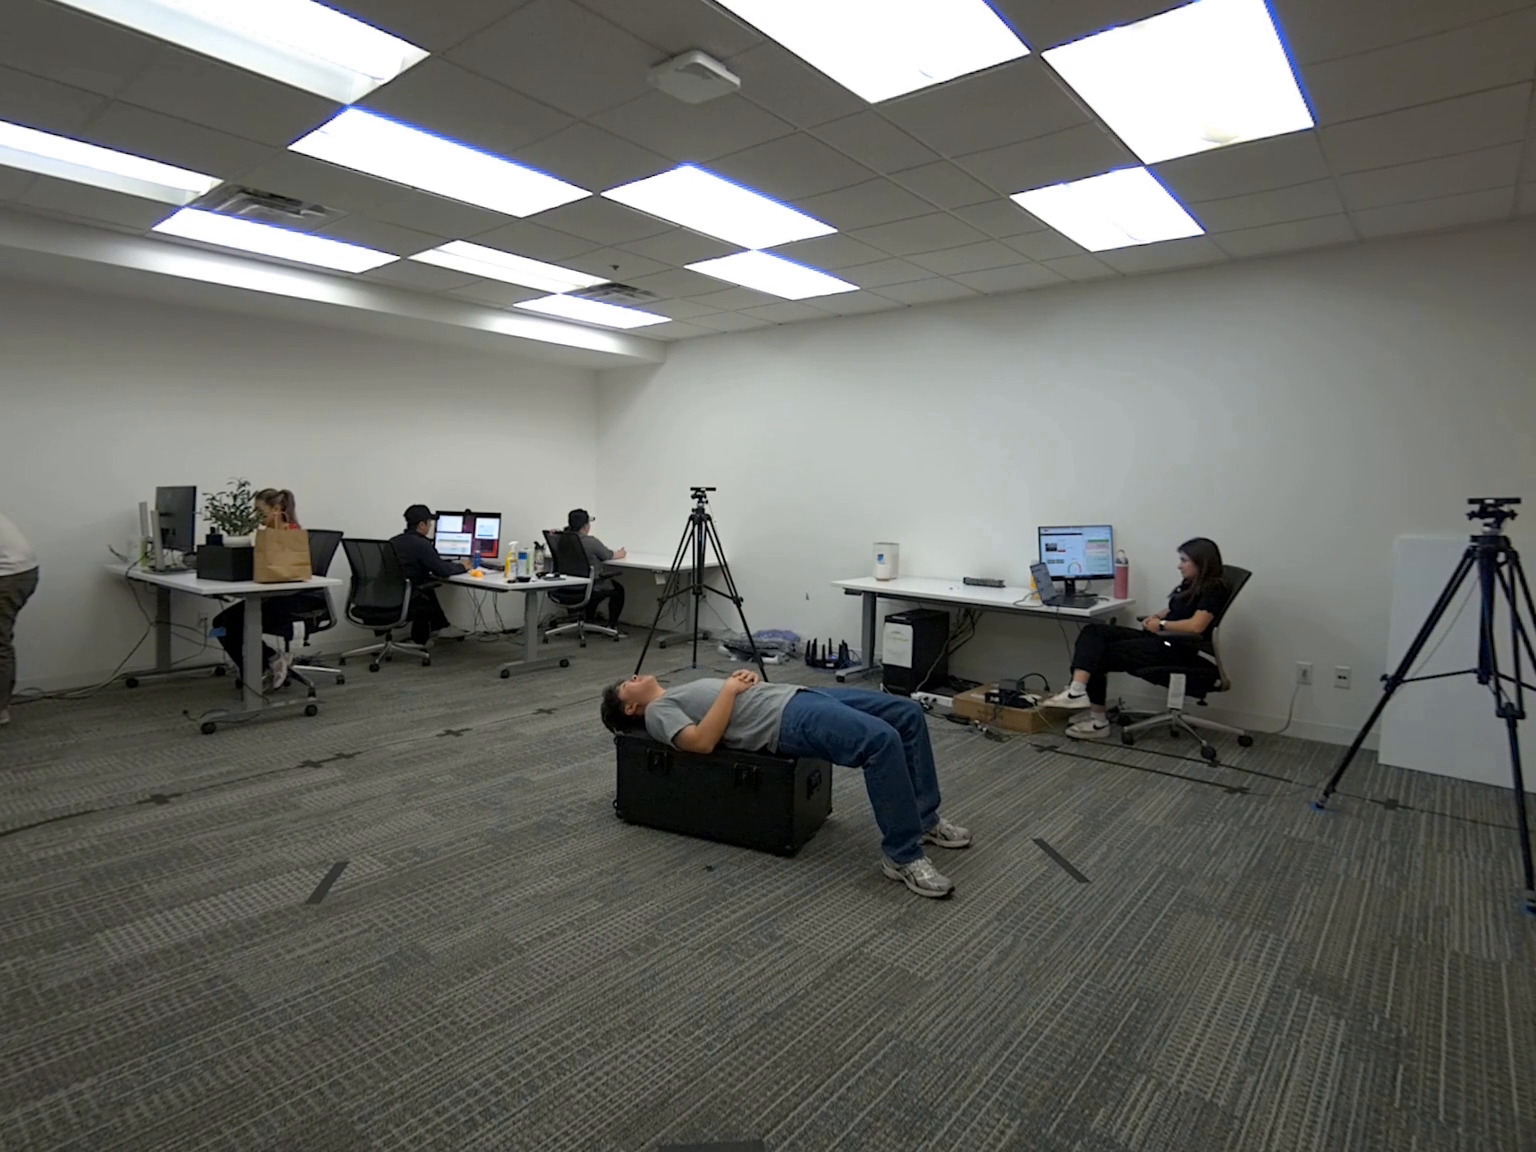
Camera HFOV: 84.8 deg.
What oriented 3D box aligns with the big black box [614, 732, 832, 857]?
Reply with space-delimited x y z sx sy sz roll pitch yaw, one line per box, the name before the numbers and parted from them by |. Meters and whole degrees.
big black box | -0.213 0.838 3.573 0.883 0.394 0.510 4 6 24
